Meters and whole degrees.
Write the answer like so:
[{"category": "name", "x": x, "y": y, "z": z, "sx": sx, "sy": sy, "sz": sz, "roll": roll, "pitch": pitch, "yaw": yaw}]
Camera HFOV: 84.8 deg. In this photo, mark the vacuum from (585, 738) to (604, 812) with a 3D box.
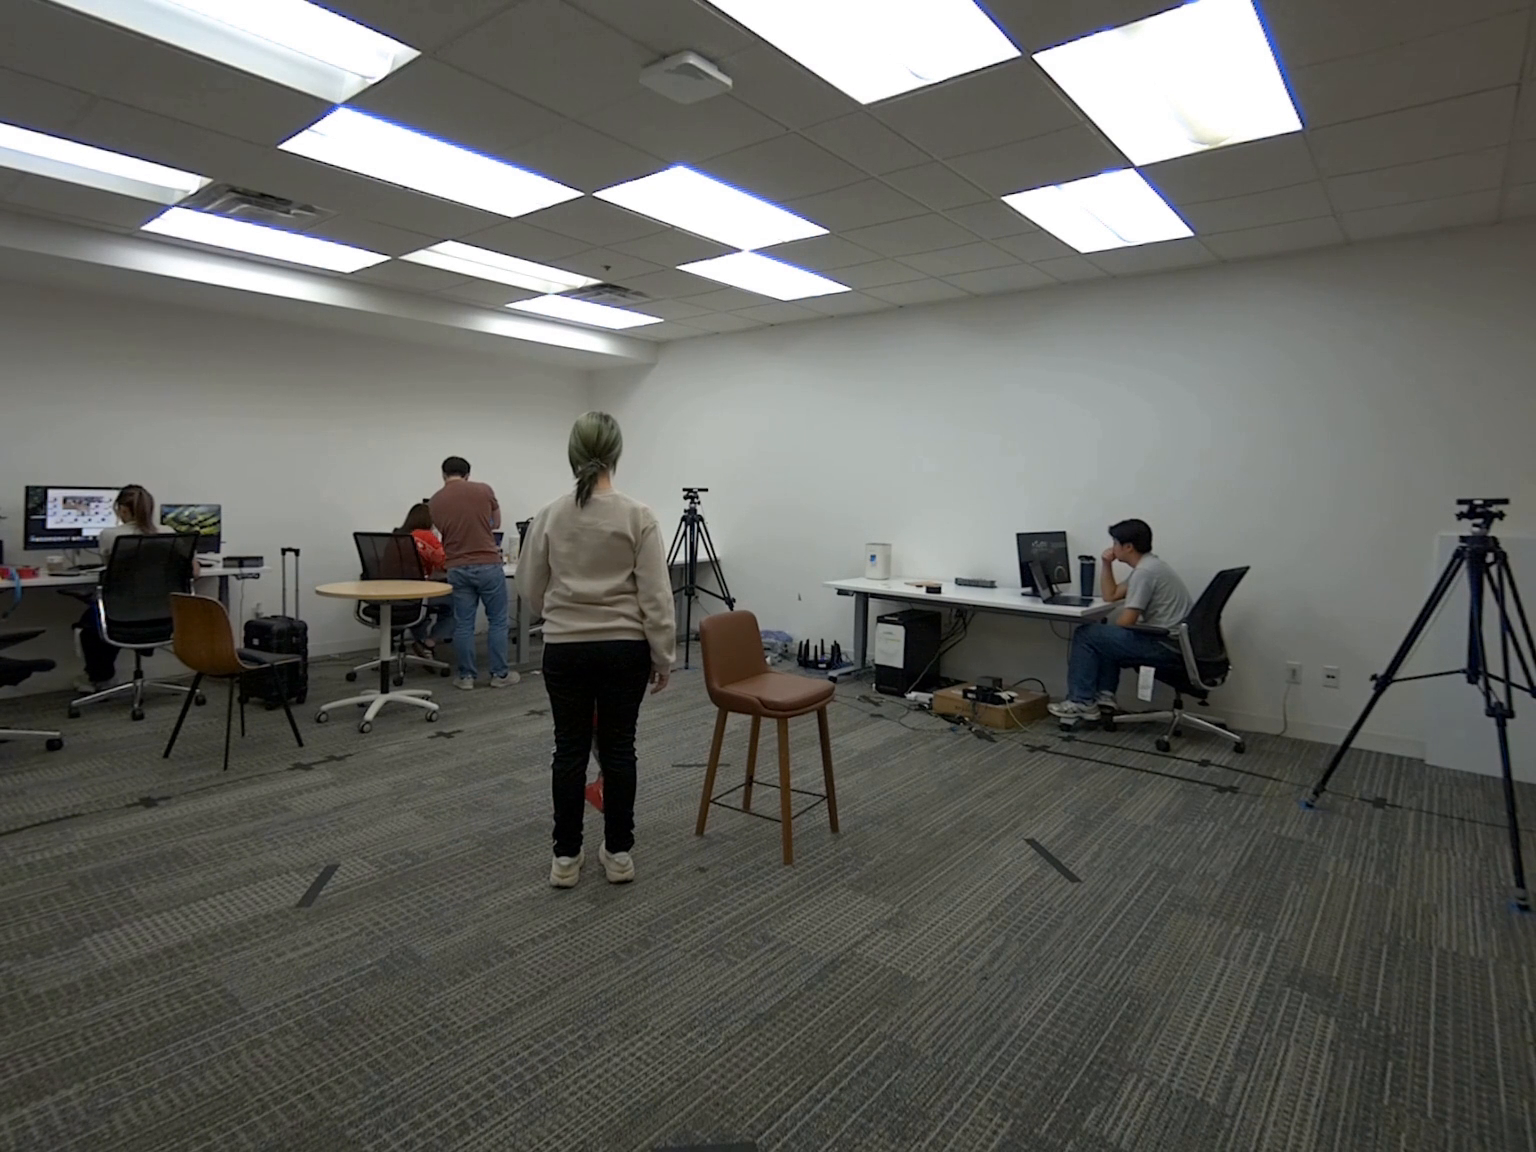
[{"category": "vacuum", "x": -0.732, "y": 0.339, "z": 3.363, "sx": 0.140, "sy": 1.047, "sz": 0.260, "roll": -5, "pitch": 2, "yaw": -34}]
